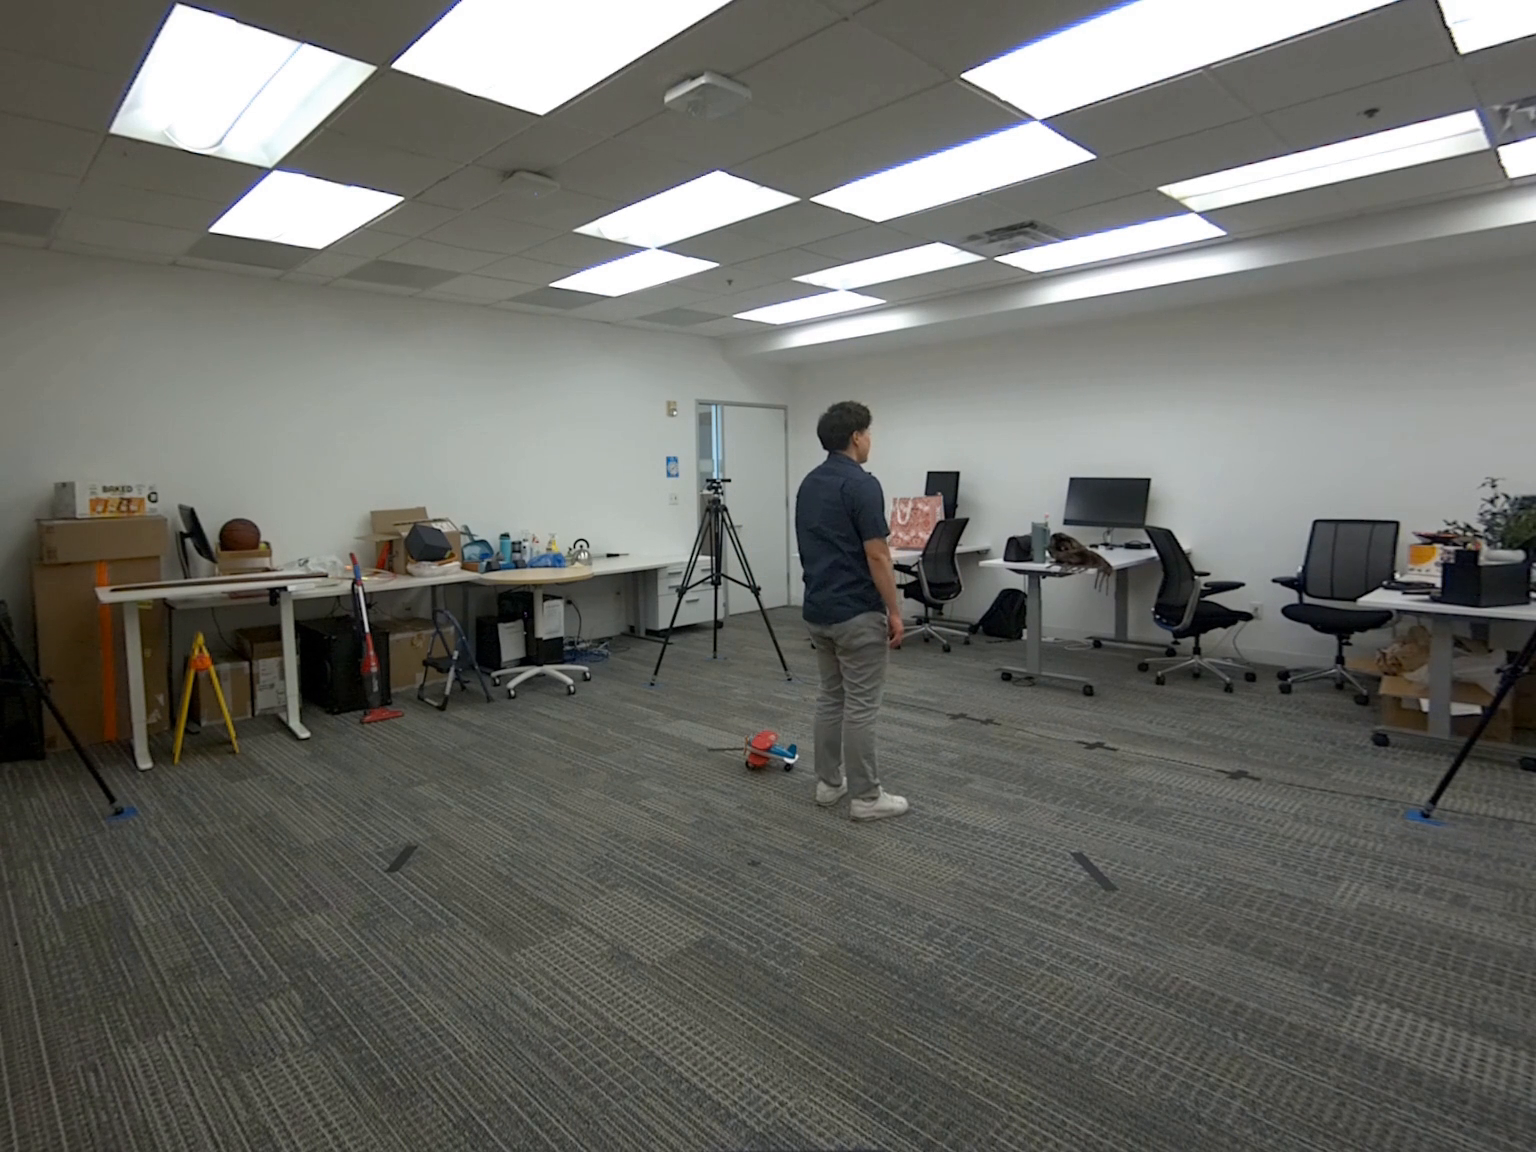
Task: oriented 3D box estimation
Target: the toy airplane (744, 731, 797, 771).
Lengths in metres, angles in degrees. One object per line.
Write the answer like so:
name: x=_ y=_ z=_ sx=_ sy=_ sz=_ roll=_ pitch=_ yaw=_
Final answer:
toy airplane: x=0.014 y=0.853 z=4.154 sx=0.257 sy=0.156 sz=0.254 roll=-3 pitch=5 yaw=-9
